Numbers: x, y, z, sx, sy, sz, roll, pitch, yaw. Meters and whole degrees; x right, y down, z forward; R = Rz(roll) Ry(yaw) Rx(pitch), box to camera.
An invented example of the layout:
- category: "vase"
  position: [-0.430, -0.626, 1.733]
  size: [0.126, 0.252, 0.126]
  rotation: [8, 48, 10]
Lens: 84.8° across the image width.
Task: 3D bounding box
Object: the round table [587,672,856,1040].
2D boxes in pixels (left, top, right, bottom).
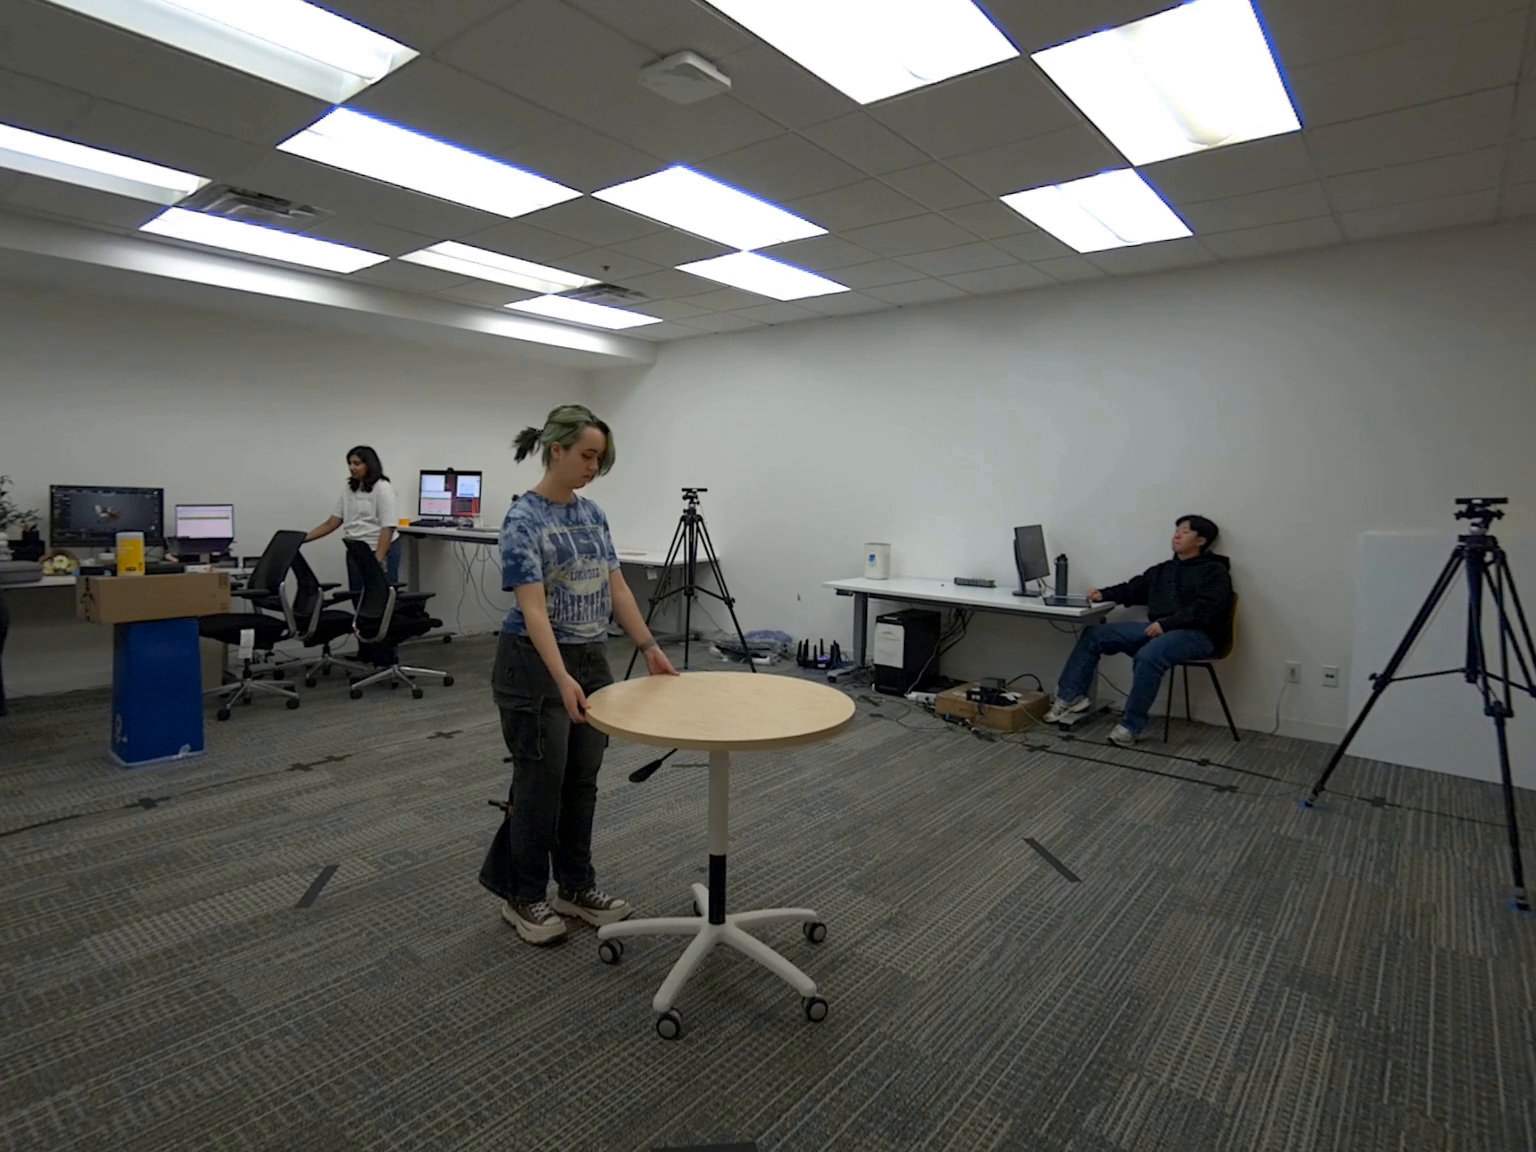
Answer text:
- category: "round table"
  position: [-0.140, 0.746, 2.451]
  size: [0.763, 0.791, 0.768]
  rotation: [0, 5, -2]
